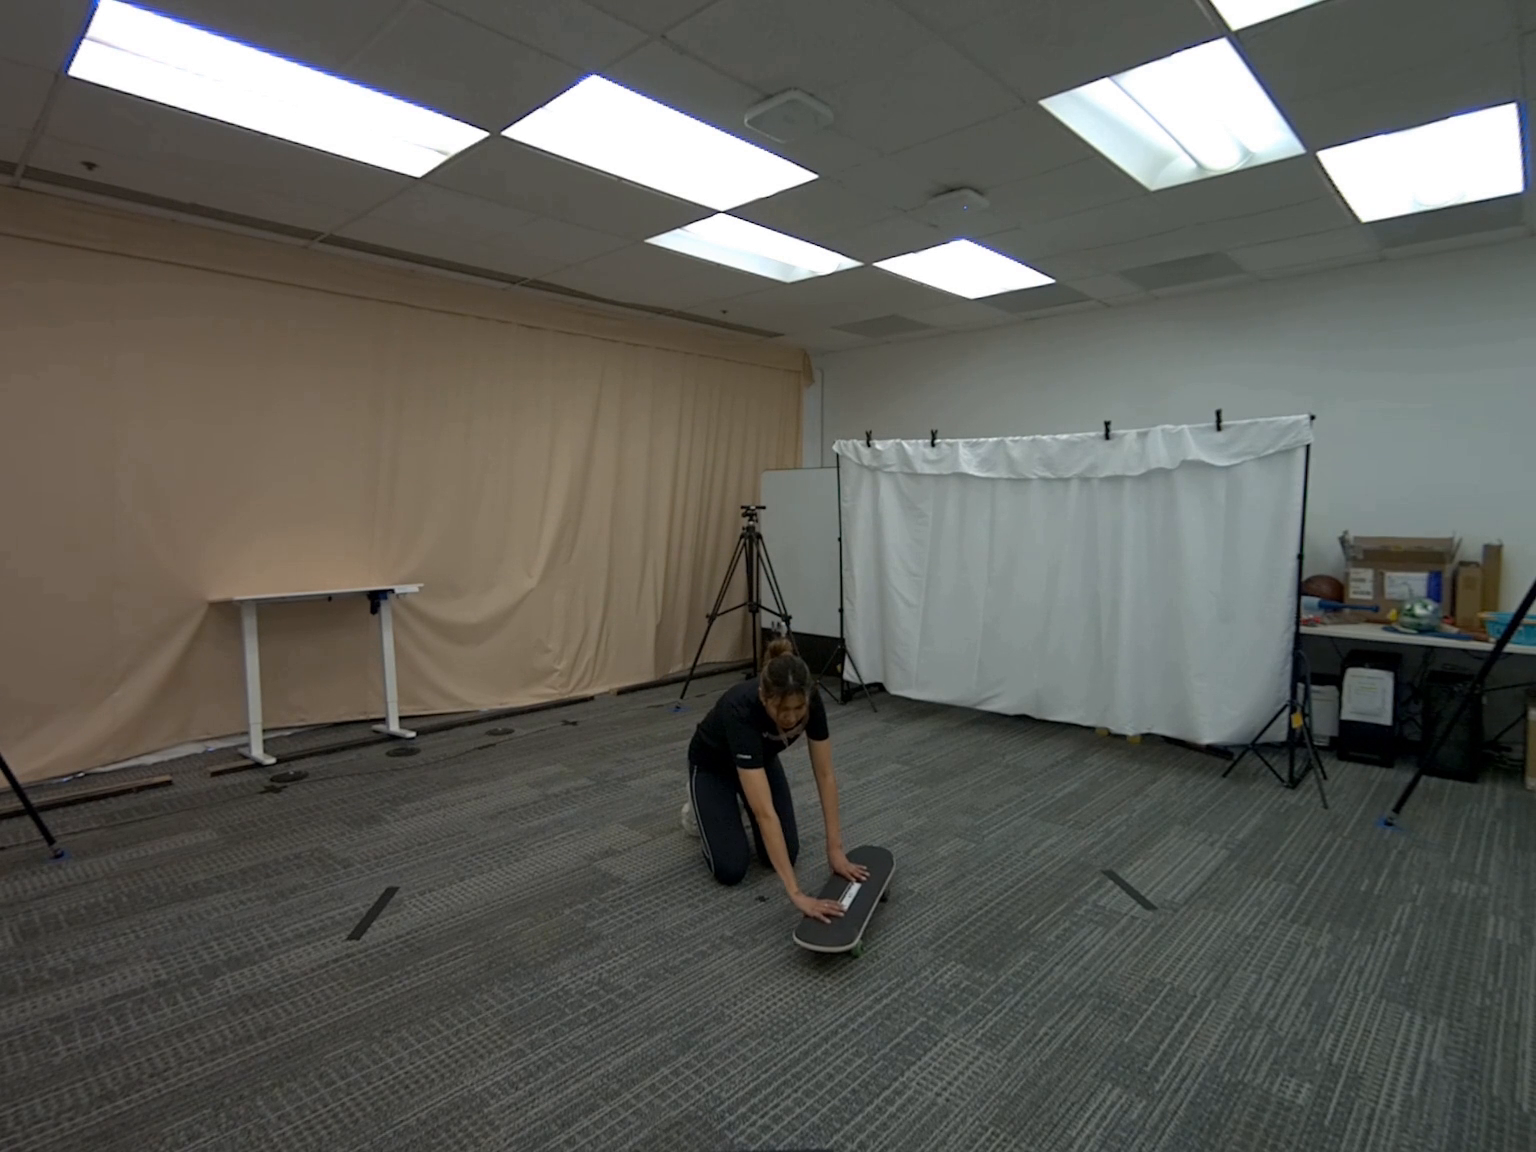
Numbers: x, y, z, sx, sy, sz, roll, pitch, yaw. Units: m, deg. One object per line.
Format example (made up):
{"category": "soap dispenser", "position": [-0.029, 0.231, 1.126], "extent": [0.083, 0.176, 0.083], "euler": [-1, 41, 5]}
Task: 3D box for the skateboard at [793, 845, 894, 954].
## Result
{"category": "skateboard", "position": [0.280, 1.099, 2.822], "extent": [0.197, 0.110, 0.771], "euler": [0, 6, 19]}
